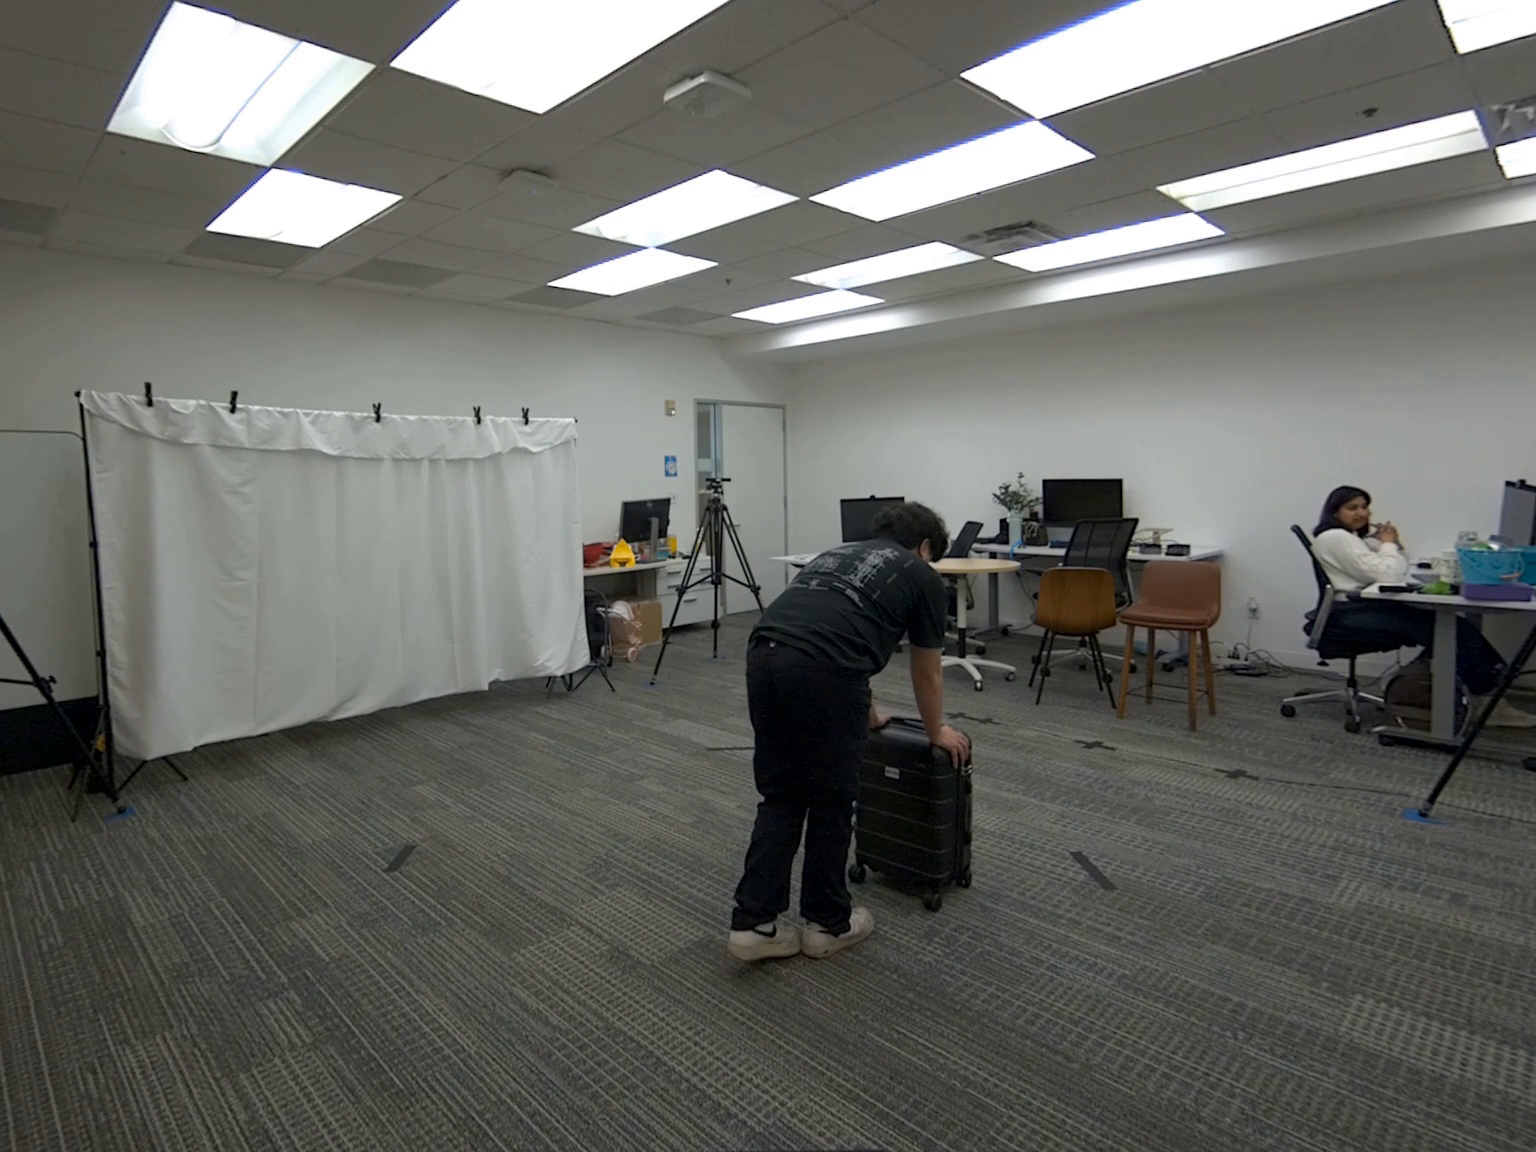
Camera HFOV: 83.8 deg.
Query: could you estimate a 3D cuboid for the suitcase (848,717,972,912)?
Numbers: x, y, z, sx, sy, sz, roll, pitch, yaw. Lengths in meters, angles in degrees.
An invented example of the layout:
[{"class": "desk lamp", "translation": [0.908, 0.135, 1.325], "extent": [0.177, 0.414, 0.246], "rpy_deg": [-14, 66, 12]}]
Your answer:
[{"class": "suitcase", "translation": [0.507, 0.782, 2.931], "extent": [0.387, 0.548, 0.241], "rpy_deg": [2, 2, 41]}]
